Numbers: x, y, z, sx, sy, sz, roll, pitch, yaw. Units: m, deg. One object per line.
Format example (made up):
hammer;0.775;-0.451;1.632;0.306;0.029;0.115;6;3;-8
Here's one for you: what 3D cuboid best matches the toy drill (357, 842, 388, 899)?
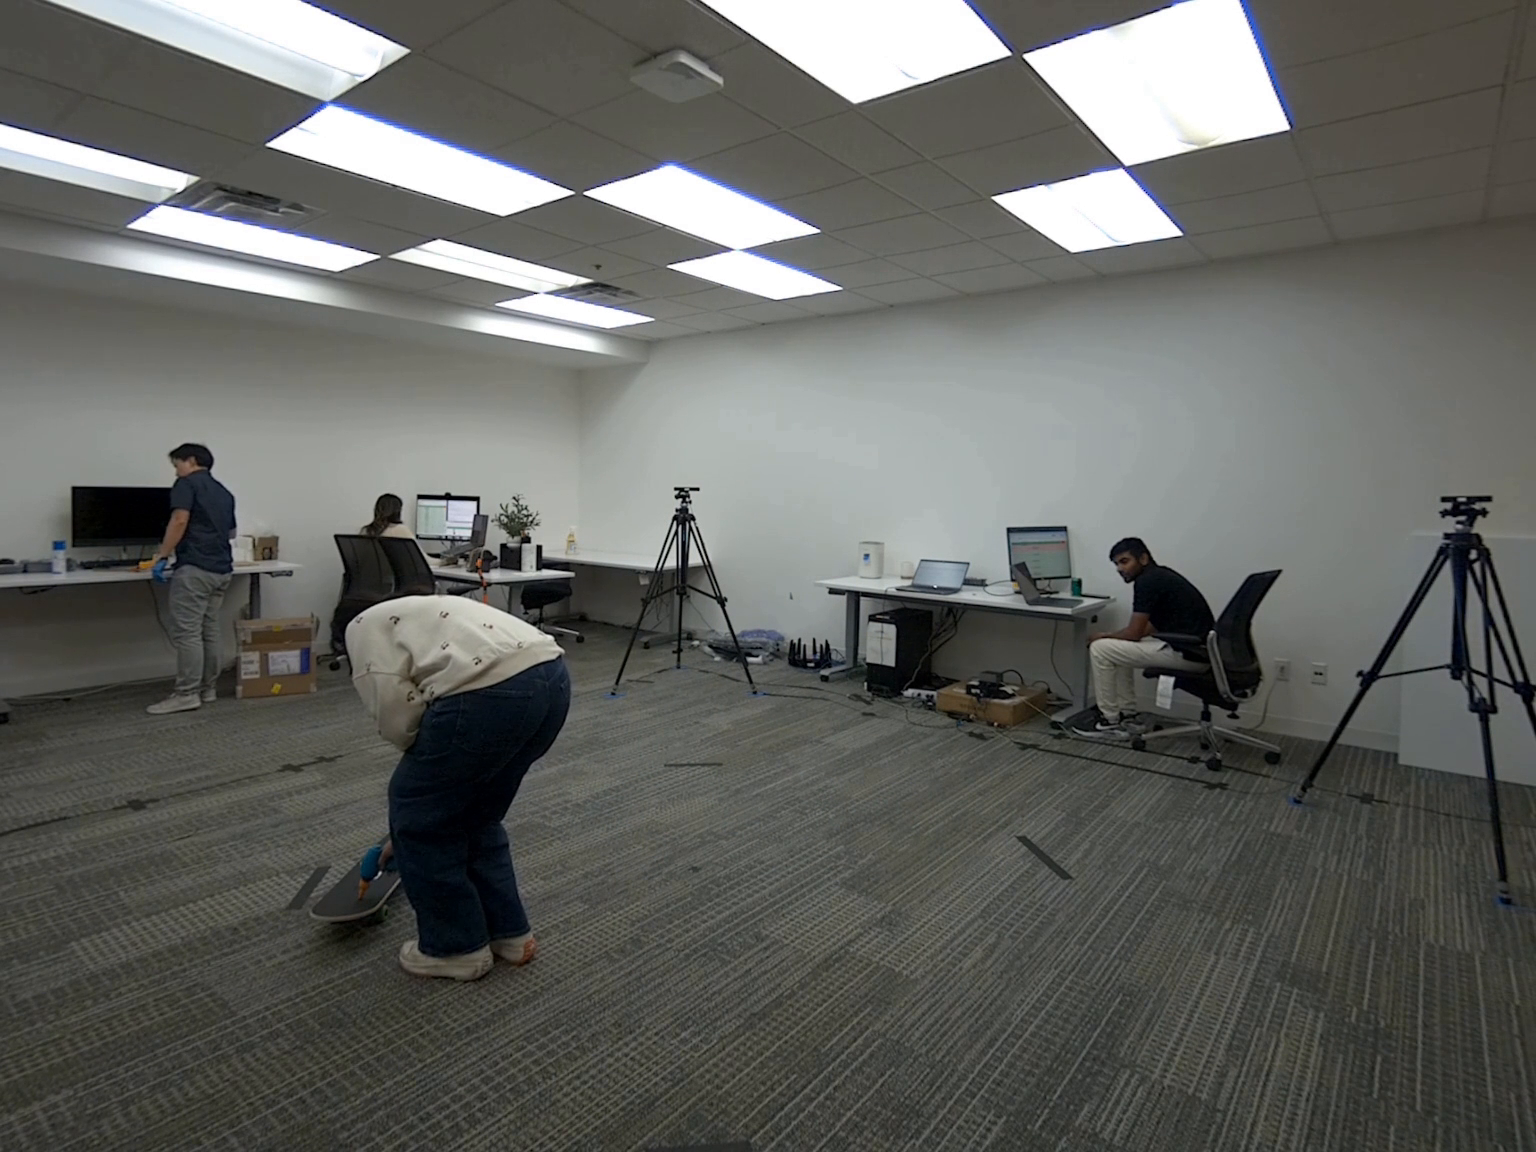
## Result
toy drill;-1.236;0.941;2.683;0.144;0.170;0.062;16;-4;-9
